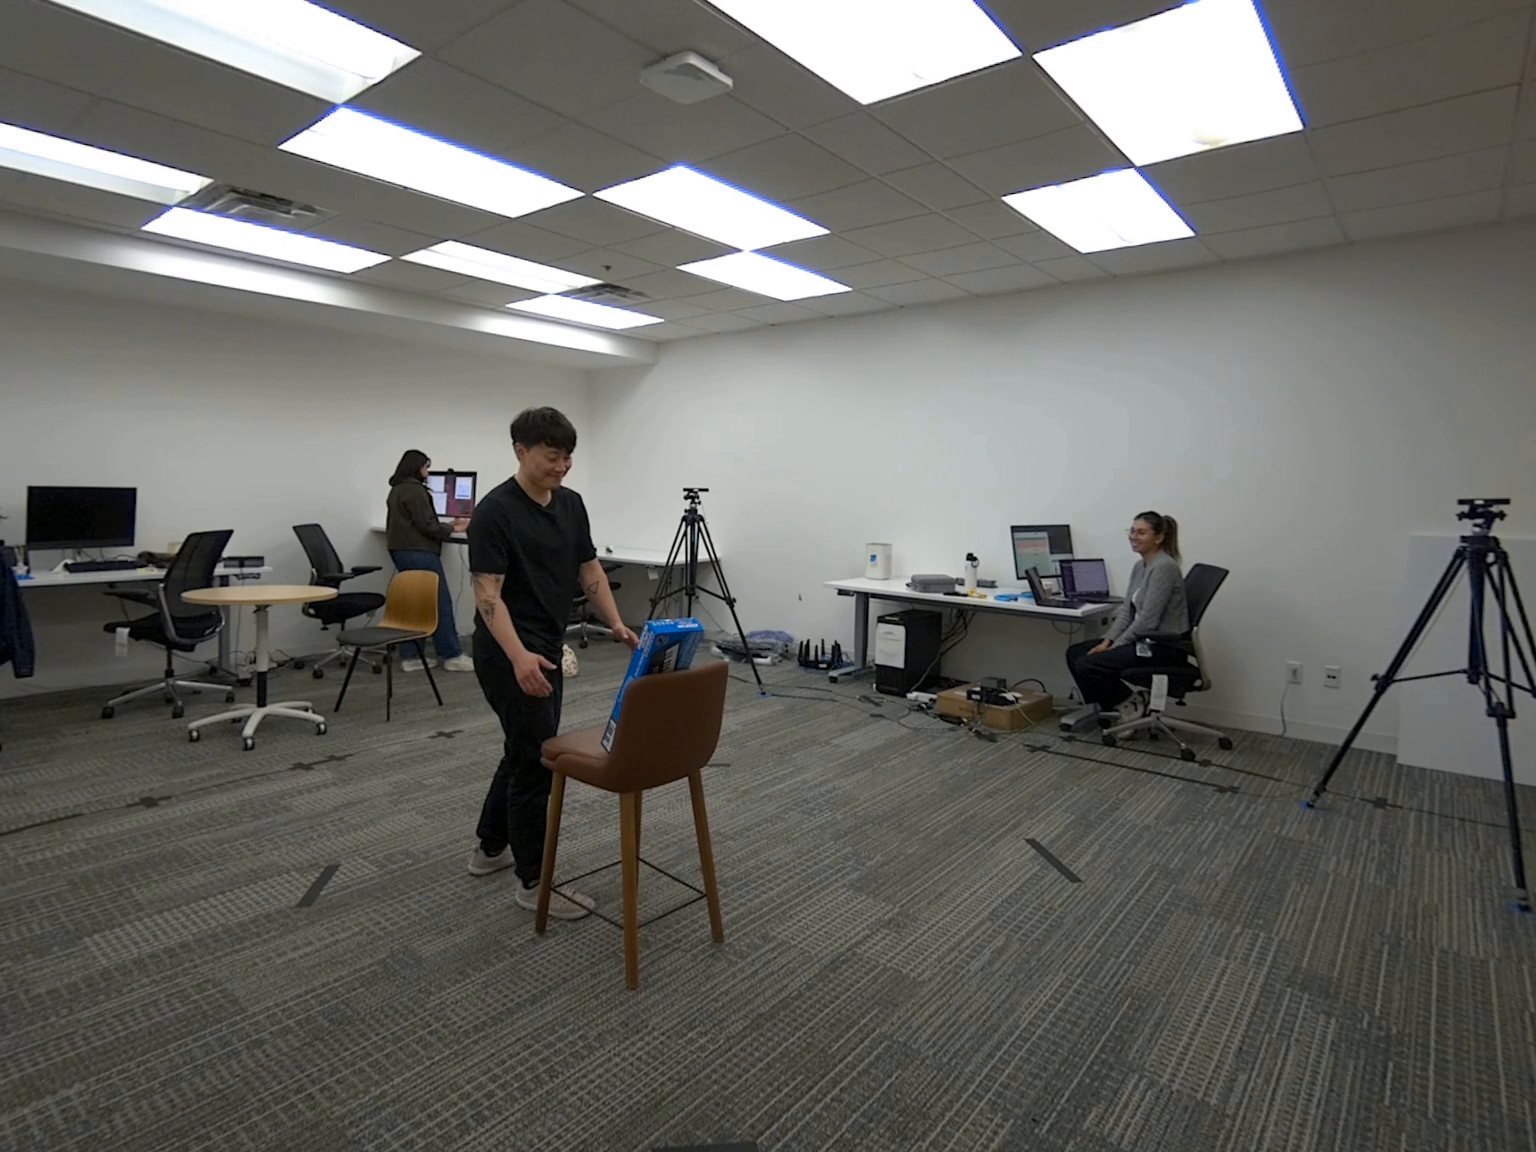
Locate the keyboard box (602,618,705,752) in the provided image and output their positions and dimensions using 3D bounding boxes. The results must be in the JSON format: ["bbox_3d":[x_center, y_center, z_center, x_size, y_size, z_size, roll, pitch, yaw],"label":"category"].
[{"bbox_3d":[-0.345,0.318,2.438,0.170,0.432,0.061,0,32,-42],"label":"keyboard box"}]
